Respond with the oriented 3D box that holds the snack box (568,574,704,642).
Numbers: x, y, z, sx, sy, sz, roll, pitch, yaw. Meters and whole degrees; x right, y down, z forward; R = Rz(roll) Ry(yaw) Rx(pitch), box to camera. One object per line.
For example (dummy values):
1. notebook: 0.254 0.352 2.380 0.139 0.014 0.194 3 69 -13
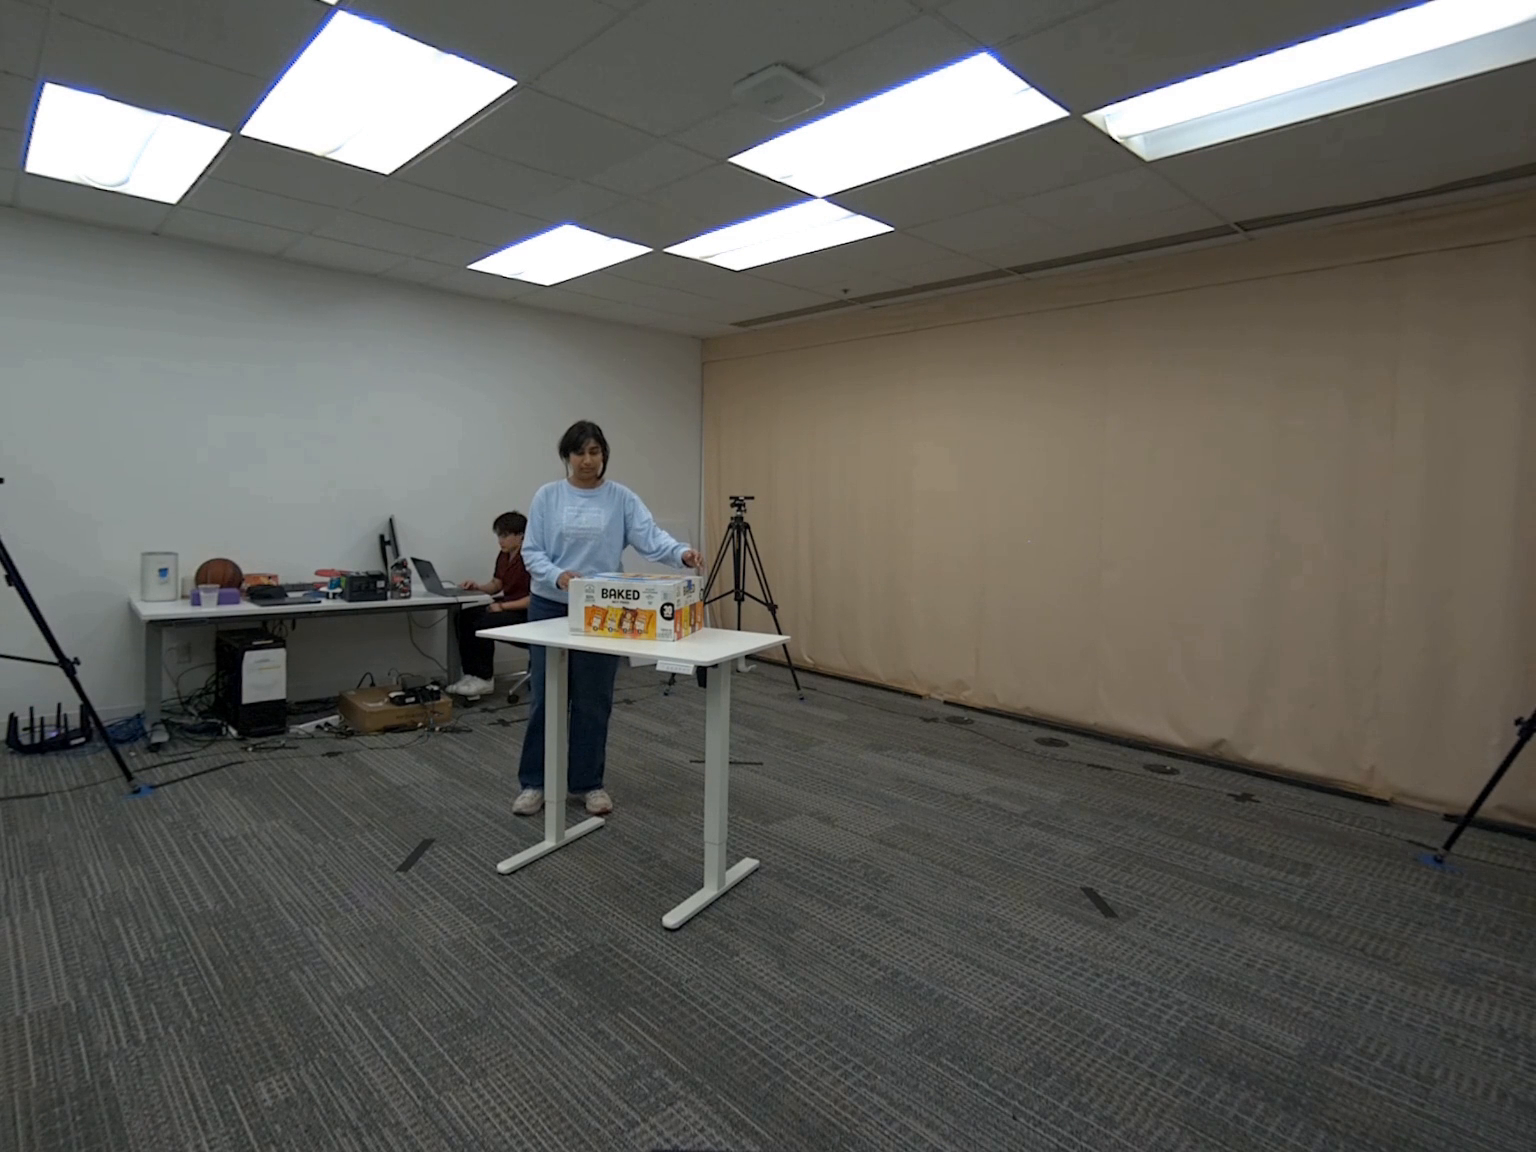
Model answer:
1. snack box: -0.491 0.105 3.152 0.410 0.205 0.337 2 3 14
